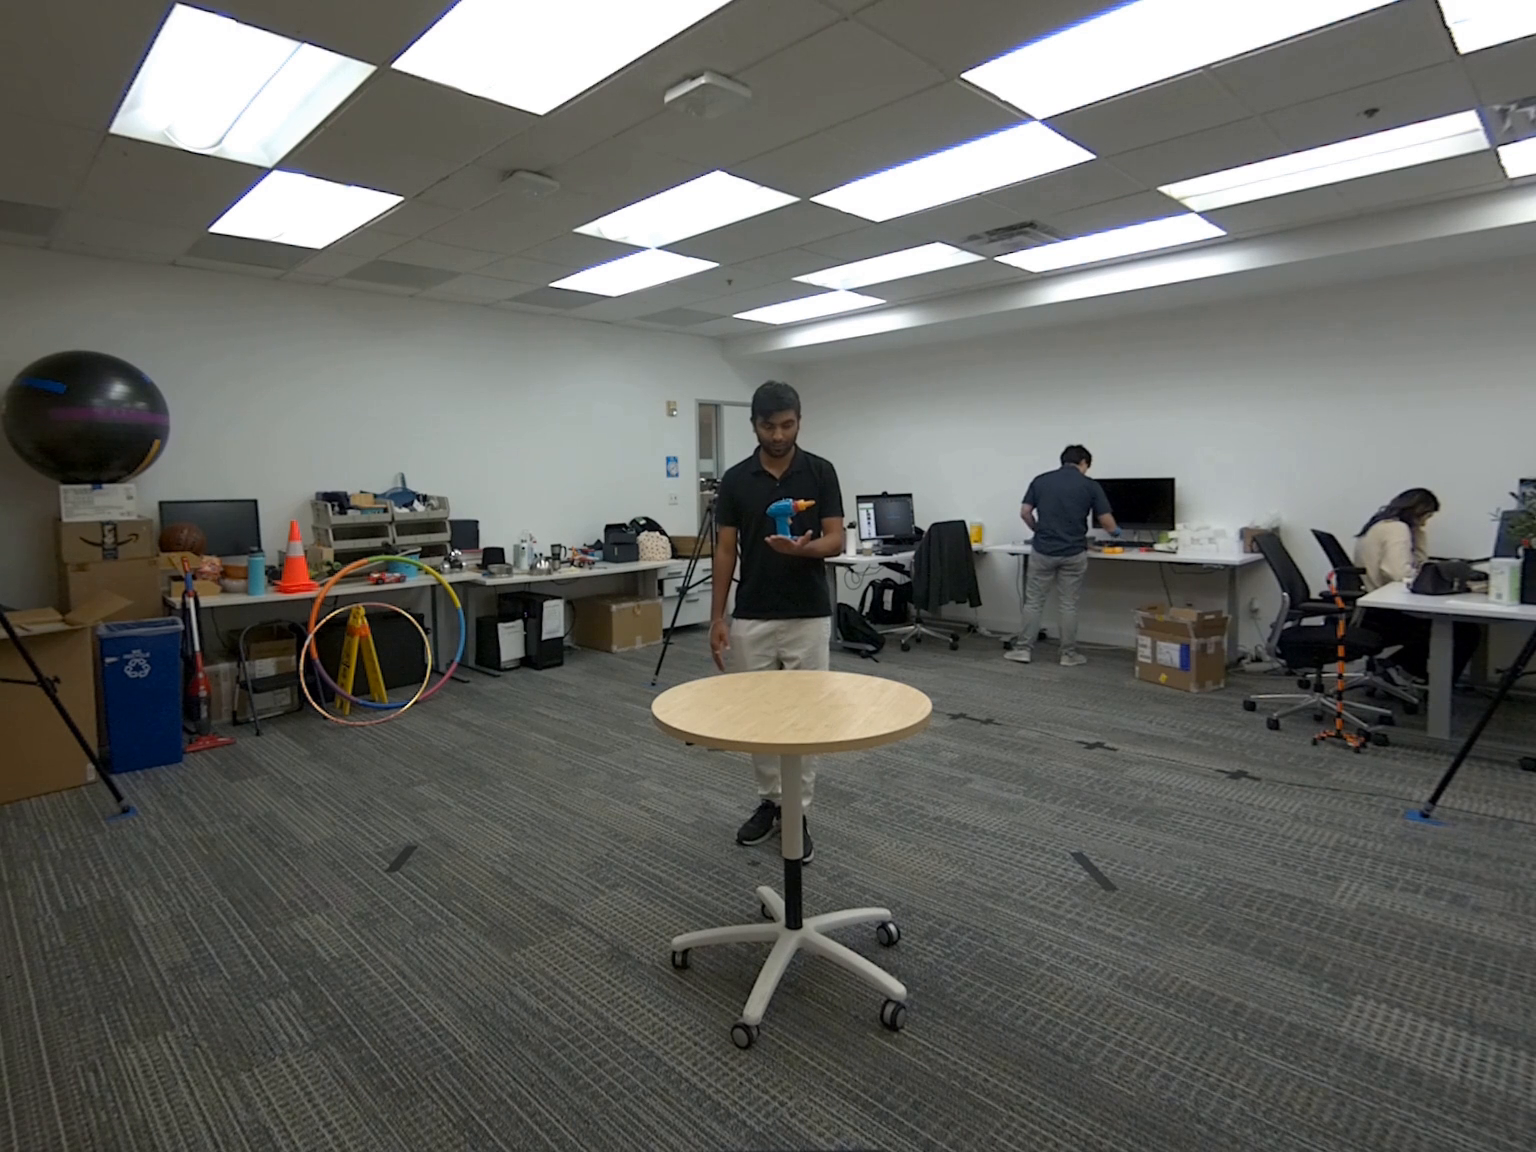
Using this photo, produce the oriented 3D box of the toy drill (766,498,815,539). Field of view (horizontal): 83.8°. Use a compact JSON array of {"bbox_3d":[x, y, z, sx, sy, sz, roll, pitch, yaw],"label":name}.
[{"bbox_3d":[0.073,-0.189,2.881,0.171,0.145,0.061,-13,3,14],"label":"toy drill"}]
